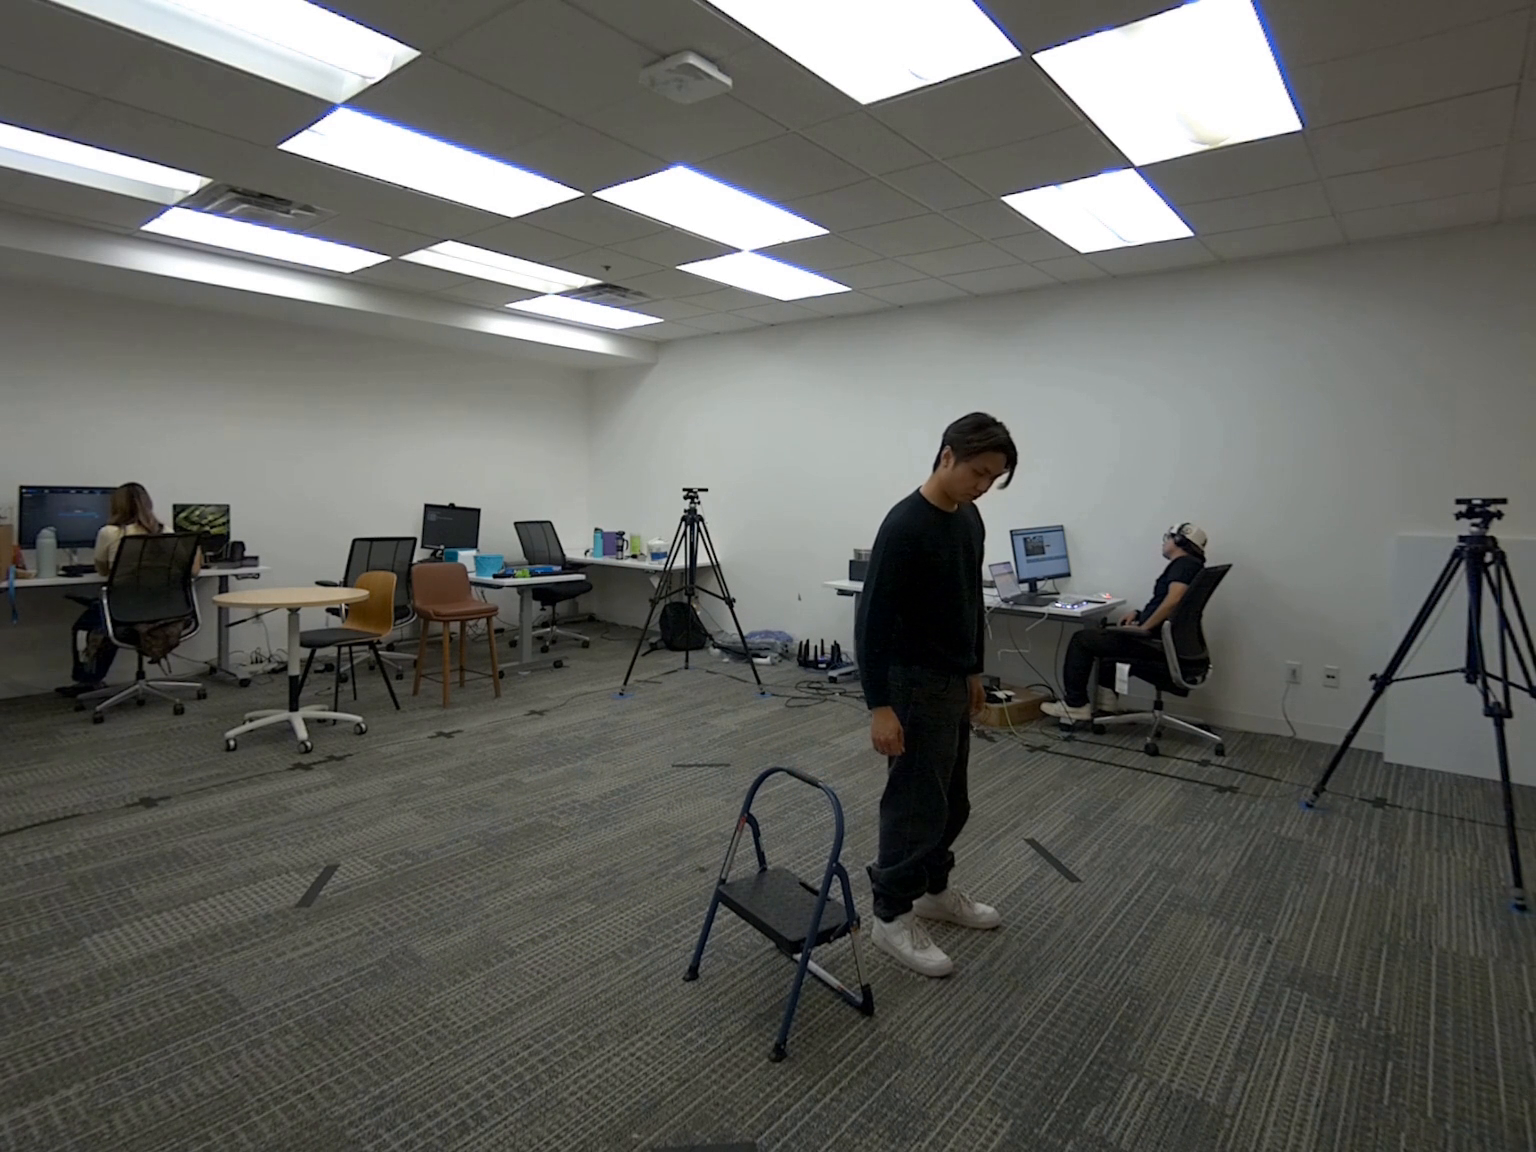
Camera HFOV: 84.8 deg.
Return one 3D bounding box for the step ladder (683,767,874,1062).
[{"bbox_3d":[0.031,0.847,2.324,0.339,0.604,0.445,-1,5,-36],"label":"step ladder"}]
